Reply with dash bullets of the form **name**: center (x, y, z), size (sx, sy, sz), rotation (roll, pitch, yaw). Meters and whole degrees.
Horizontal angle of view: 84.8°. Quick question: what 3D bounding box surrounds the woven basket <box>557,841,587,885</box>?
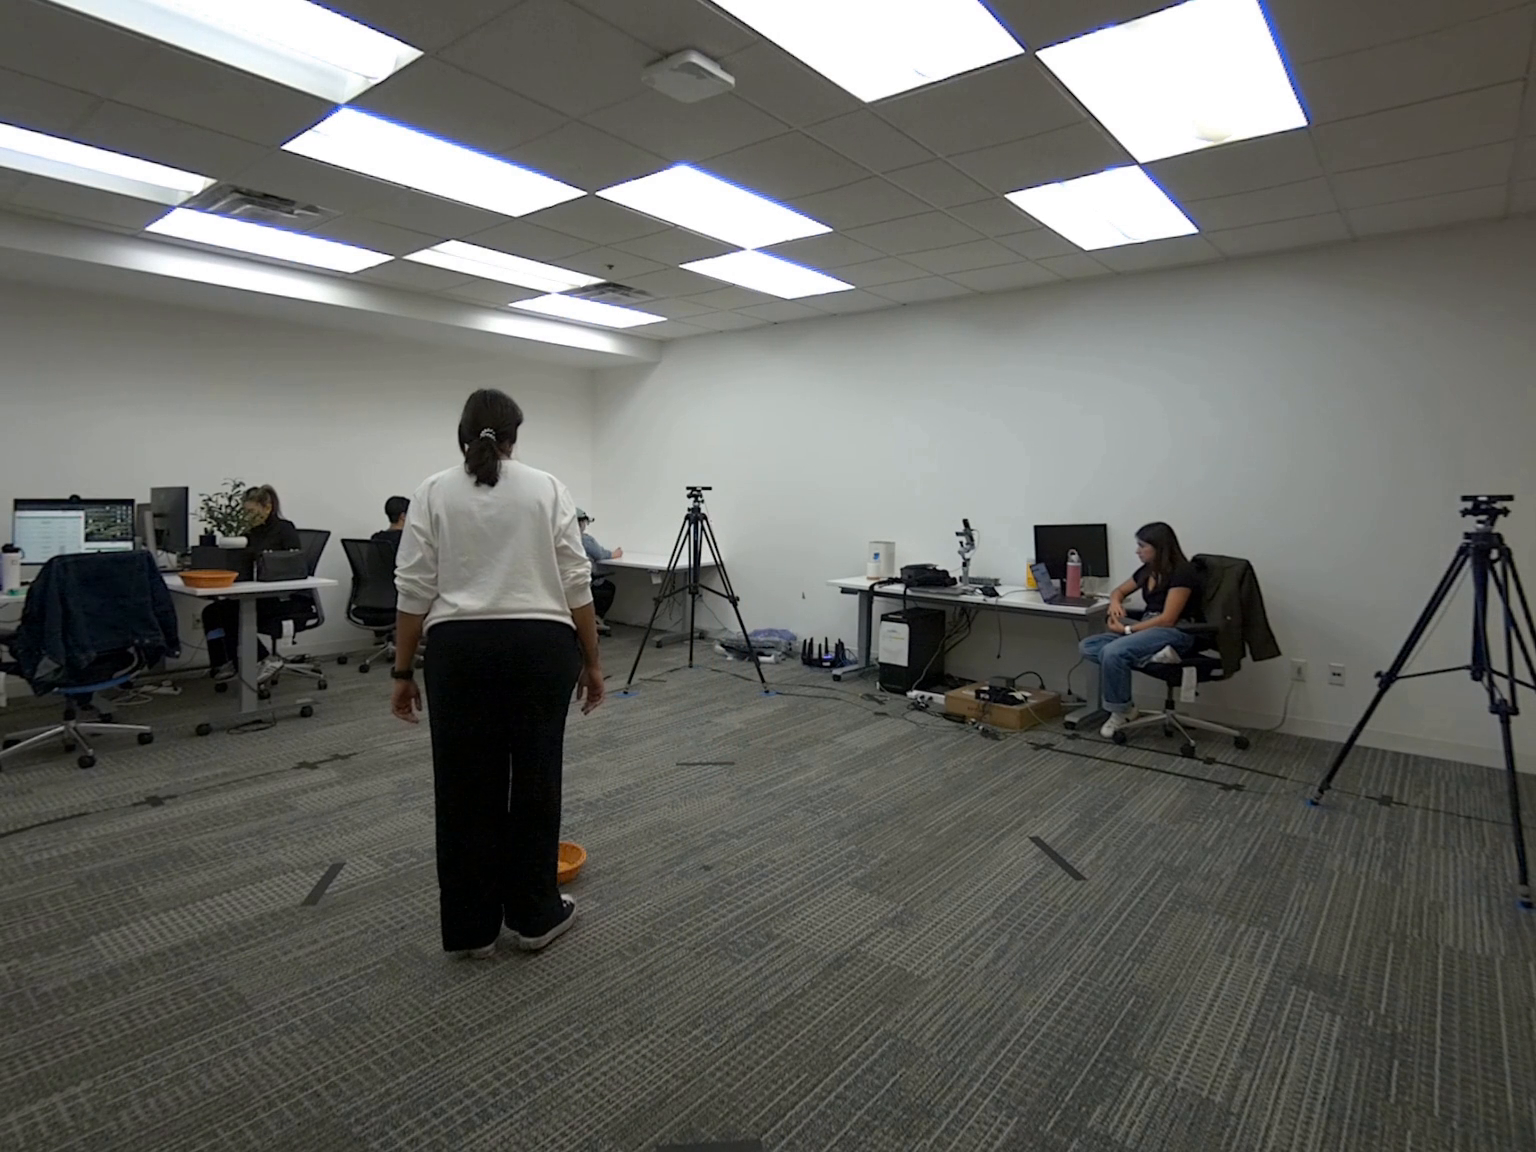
- **woven basket**: center (-0.815, 1.021, 3.024), size (0.349, 0.073, 0.255), rotation (1, 7, -4)
